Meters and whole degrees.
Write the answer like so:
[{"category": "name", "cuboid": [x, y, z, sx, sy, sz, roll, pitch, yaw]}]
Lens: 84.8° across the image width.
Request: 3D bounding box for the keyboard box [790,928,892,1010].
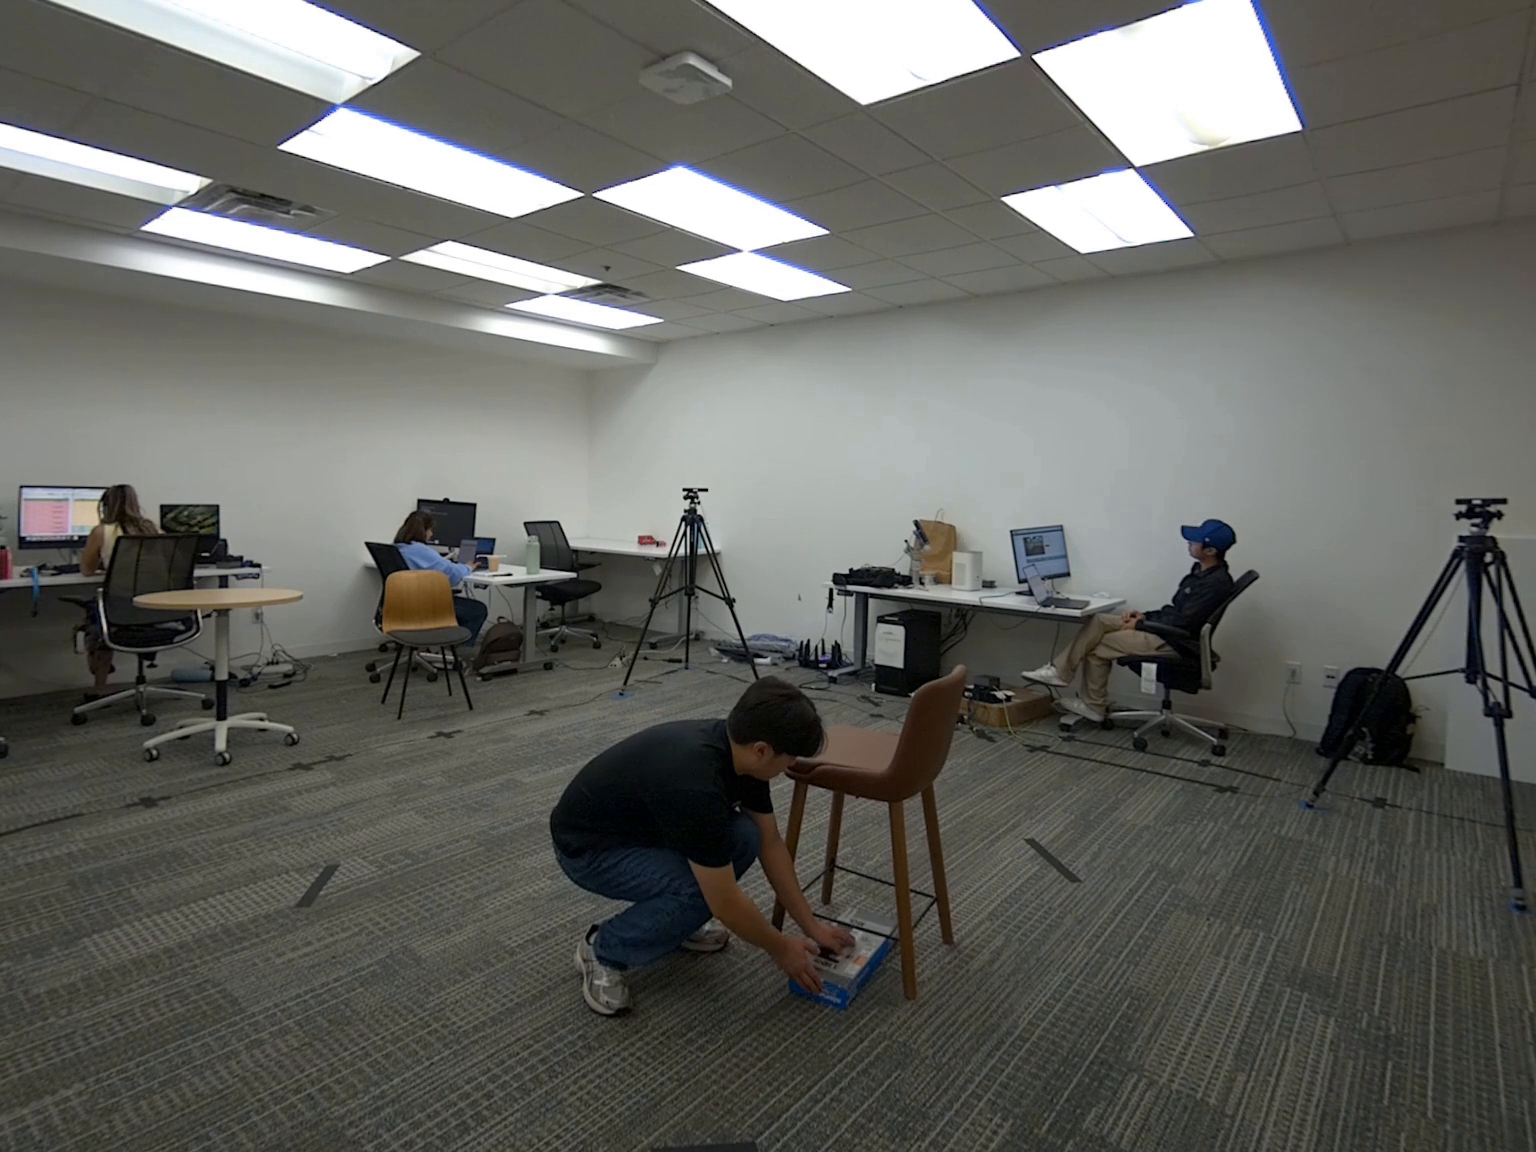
[{"category": "keyboard box", "cuboid": [0.225, 1.121, 2.502, 0.181, 0.059, 0.426, 5, 6, 29]}]
